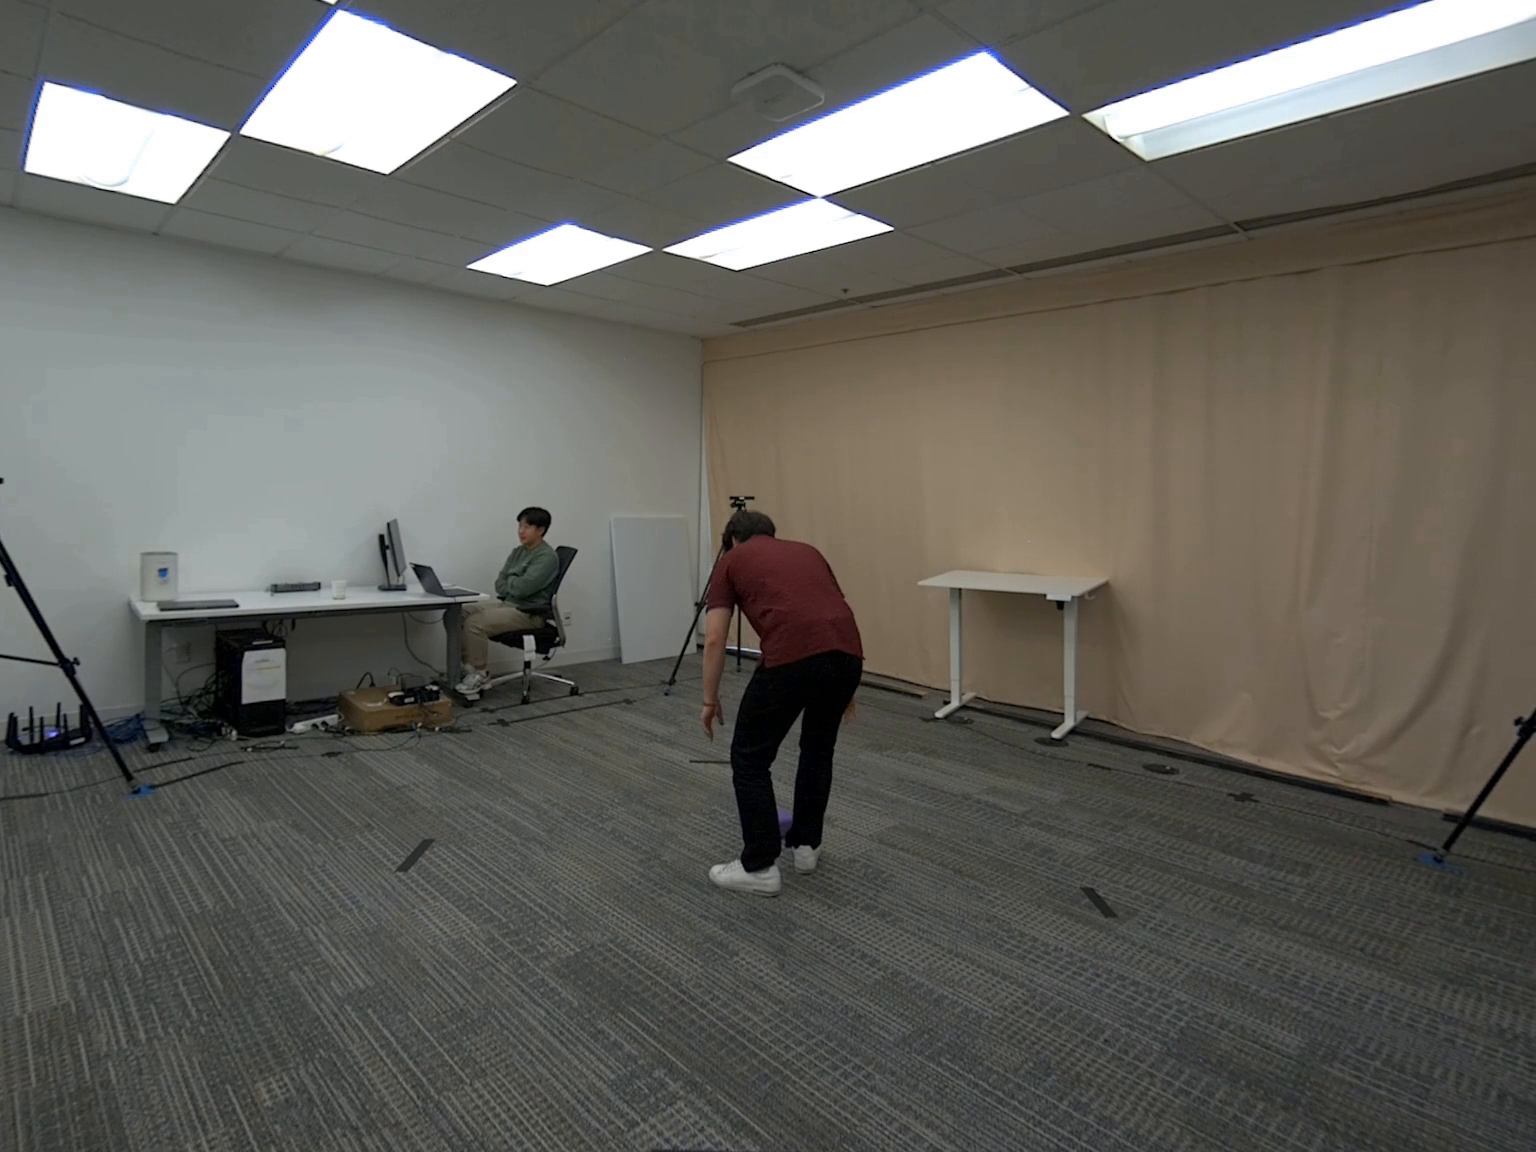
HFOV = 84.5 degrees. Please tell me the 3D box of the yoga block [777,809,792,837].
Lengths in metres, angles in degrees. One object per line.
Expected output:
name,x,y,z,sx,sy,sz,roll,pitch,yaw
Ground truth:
yoga block,-0.006,1.033,3.549,0.146,0.076,0.235,-1,5,-32
